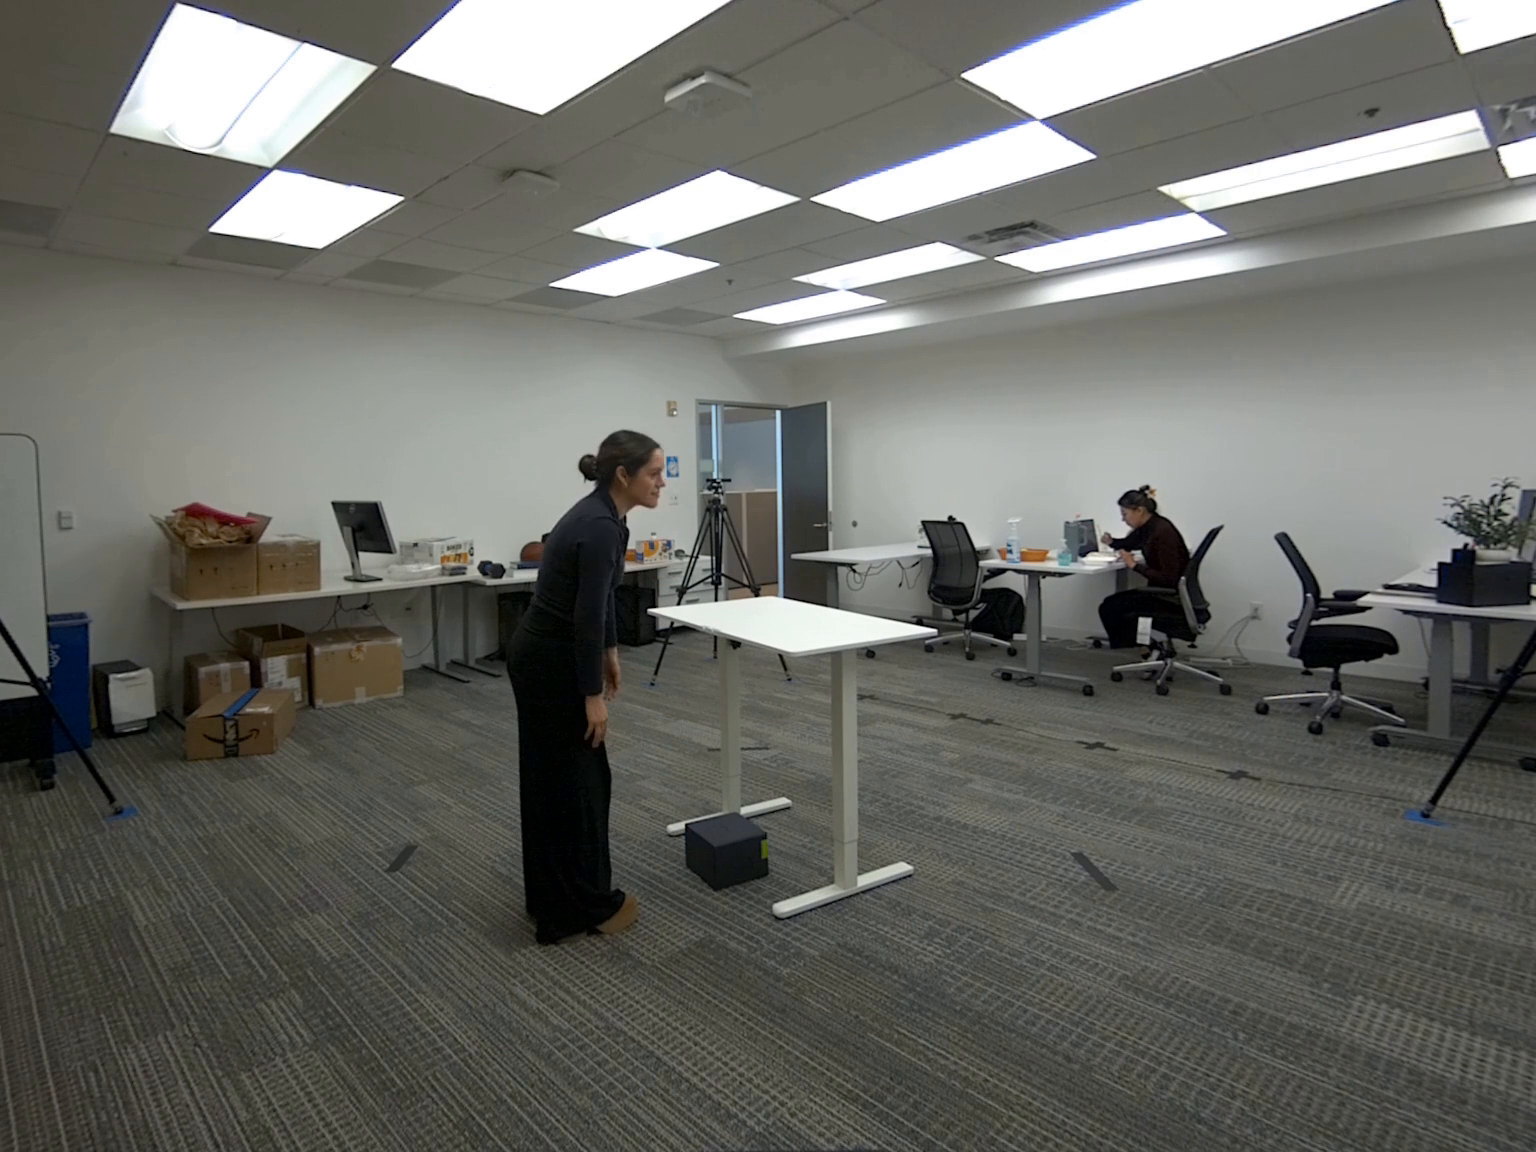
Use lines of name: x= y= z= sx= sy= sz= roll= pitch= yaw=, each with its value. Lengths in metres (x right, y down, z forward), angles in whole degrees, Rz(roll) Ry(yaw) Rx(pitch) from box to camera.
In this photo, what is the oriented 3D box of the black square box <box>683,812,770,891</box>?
black square box: x=-0.146 y=0.971 z=3.042 sx=0.212 sy=0.155 sz=0.234 roll=-4 pitch=7 yaw=-30
